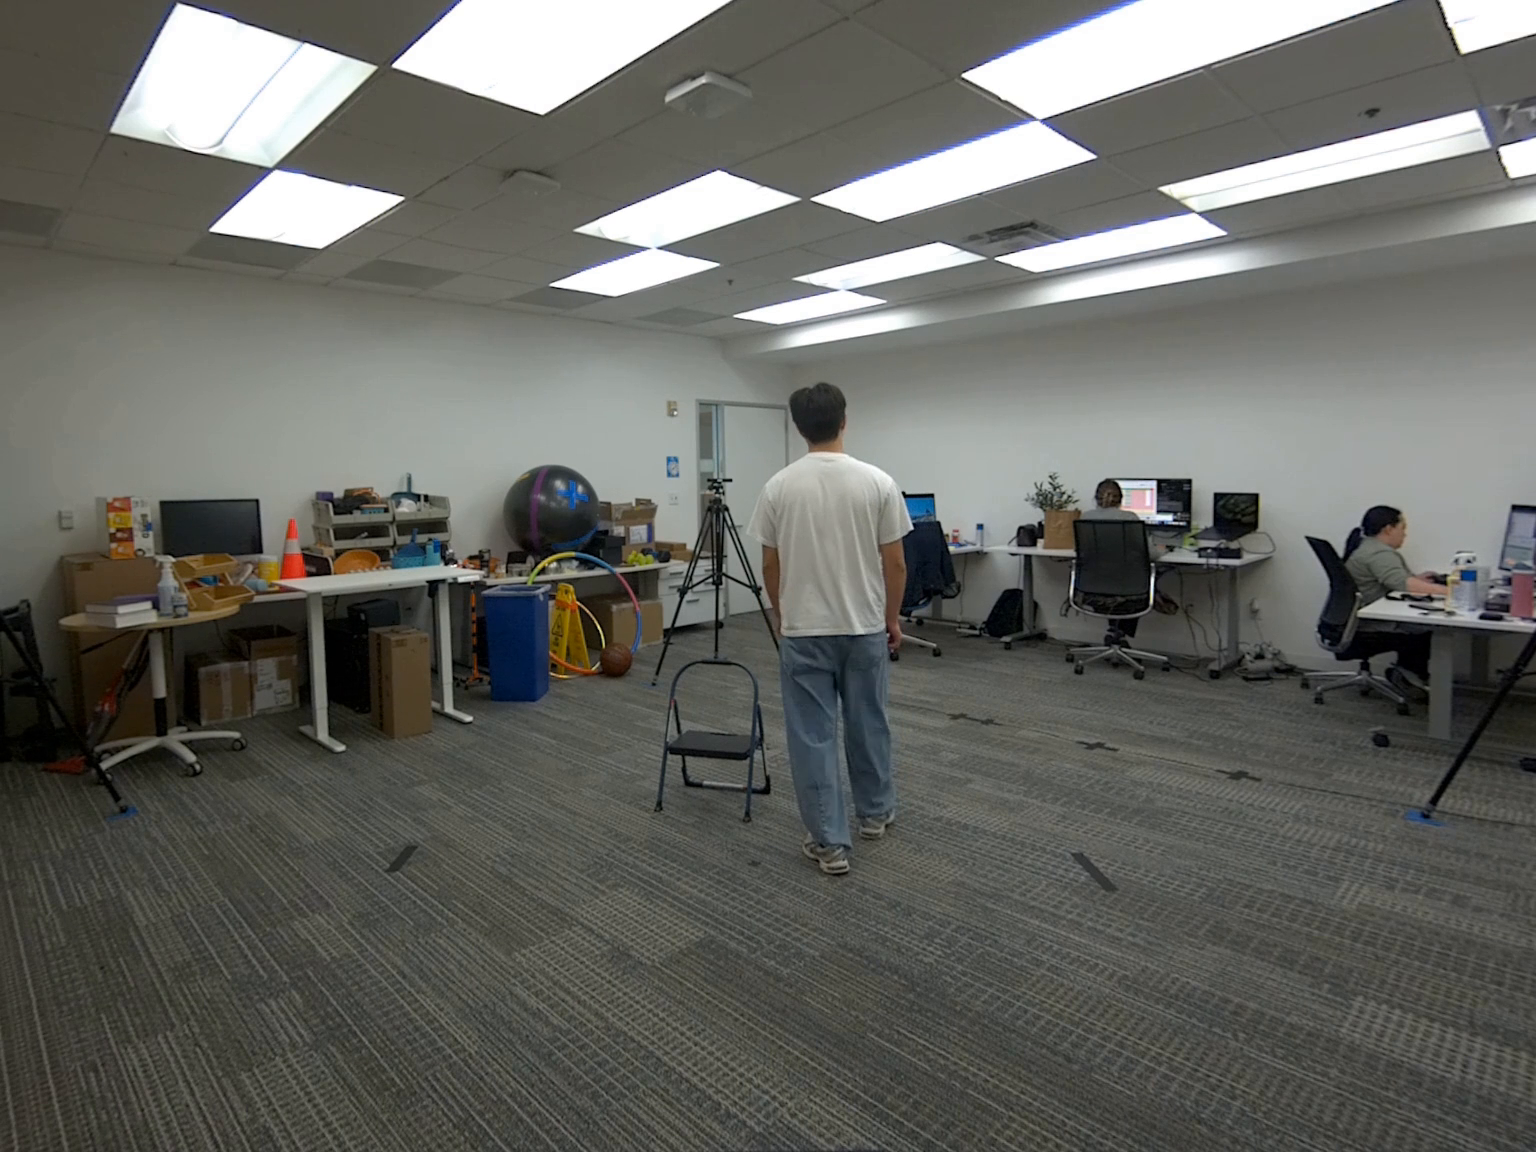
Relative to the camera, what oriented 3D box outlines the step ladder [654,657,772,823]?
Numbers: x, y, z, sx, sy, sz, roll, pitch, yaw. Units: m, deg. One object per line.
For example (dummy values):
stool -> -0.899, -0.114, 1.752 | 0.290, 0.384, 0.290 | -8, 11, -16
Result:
step ladder -> -0.237, 0.679, 3.697 | 0.438, 0.604, 0.344 | 0, 4, 19
